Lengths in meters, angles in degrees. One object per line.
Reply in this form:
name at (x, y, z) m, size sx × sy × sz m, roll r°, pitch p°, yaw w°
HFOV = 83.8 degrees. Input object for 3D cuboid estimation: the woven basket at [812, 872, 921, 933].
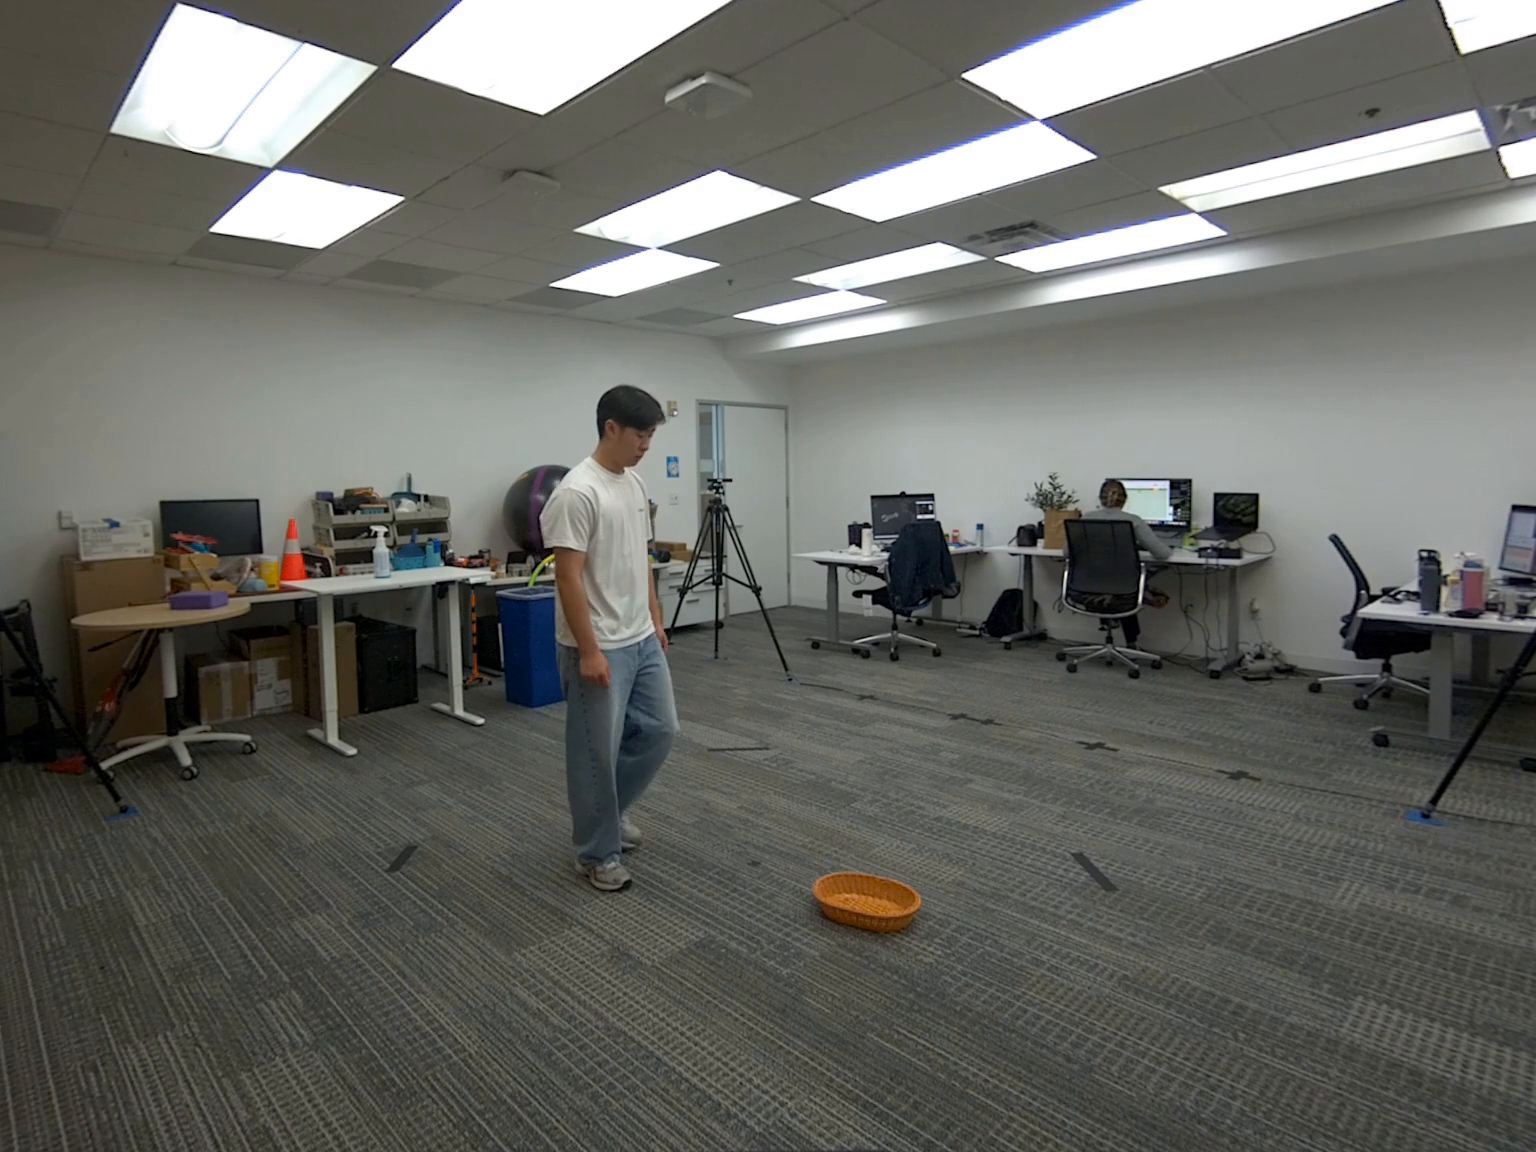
woven basket at (0.316, 1.044, 2.733) m, size 0.359 × 0.073 × 0.247 m, roll 2°, pitch 7°, yaw 29°
